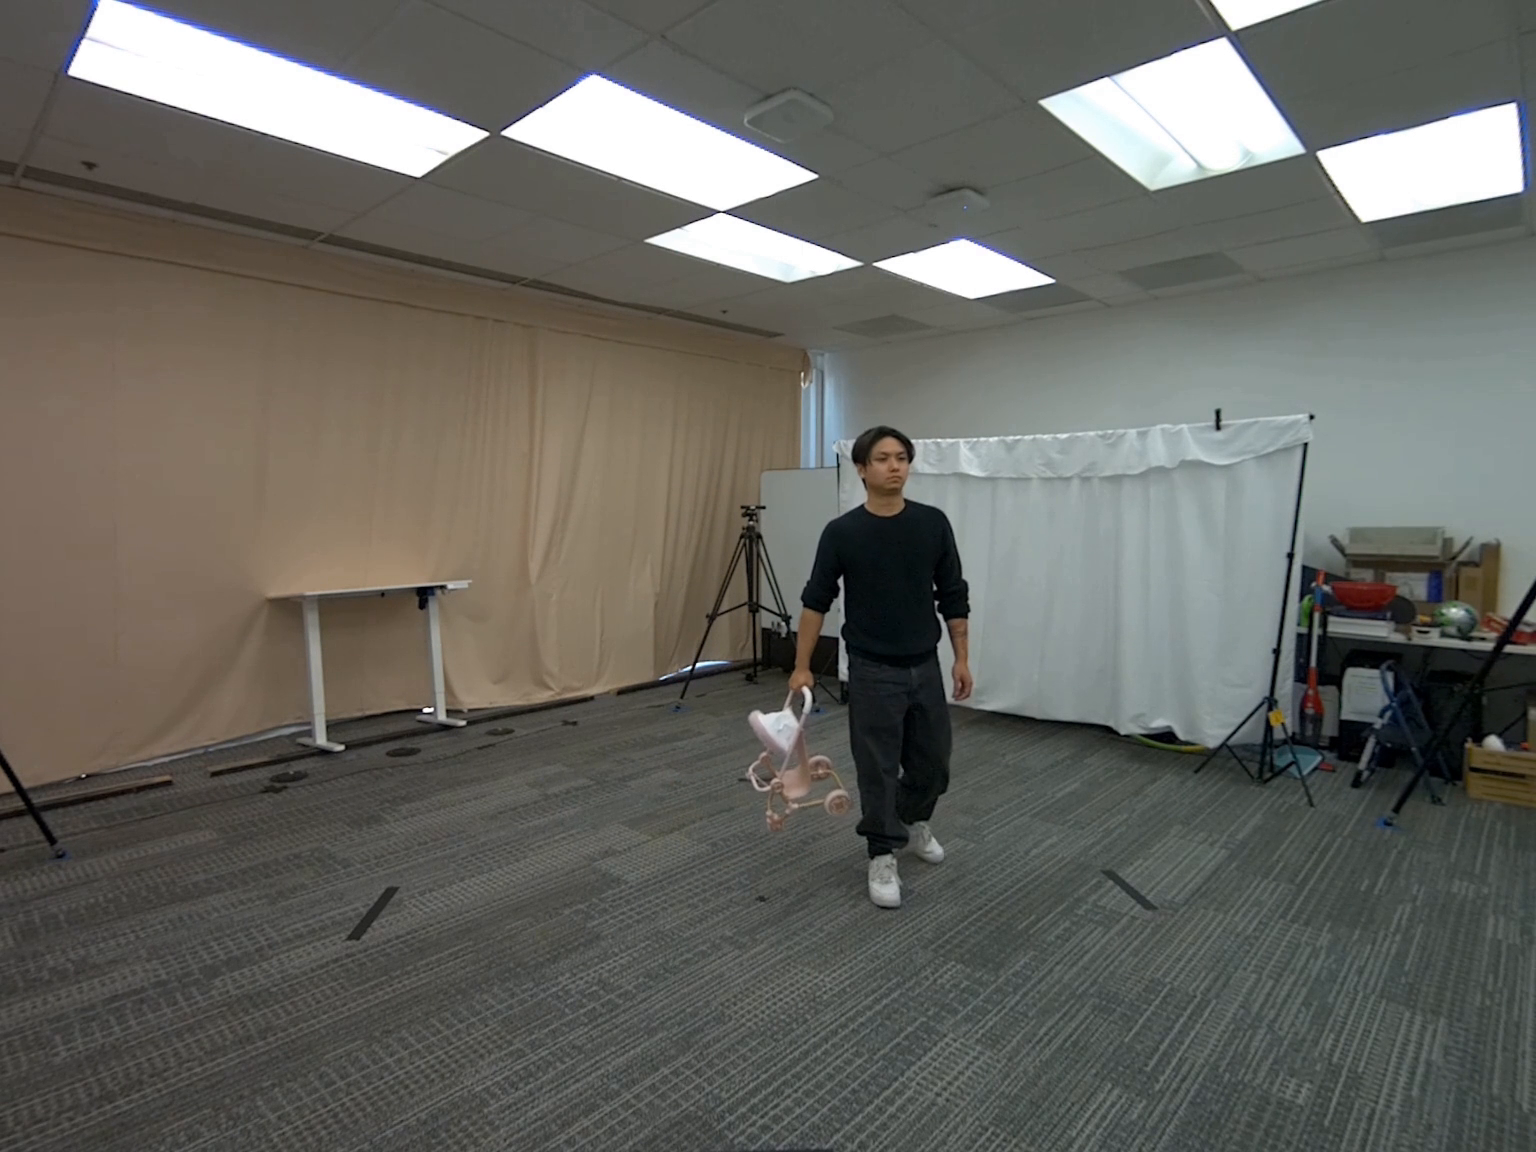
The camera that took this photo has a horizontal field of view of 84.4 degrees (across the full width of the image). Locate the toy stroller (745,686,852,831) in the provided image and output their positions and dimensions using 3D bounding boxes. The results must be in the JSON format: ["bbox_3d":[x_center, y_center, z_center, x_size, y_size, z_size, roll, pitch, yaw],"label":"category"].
[{"bbox_3d":[0.072,0.698,3.128,0.341,0.526,0.286,-21,18,0],"label":"toy stroller"}]
